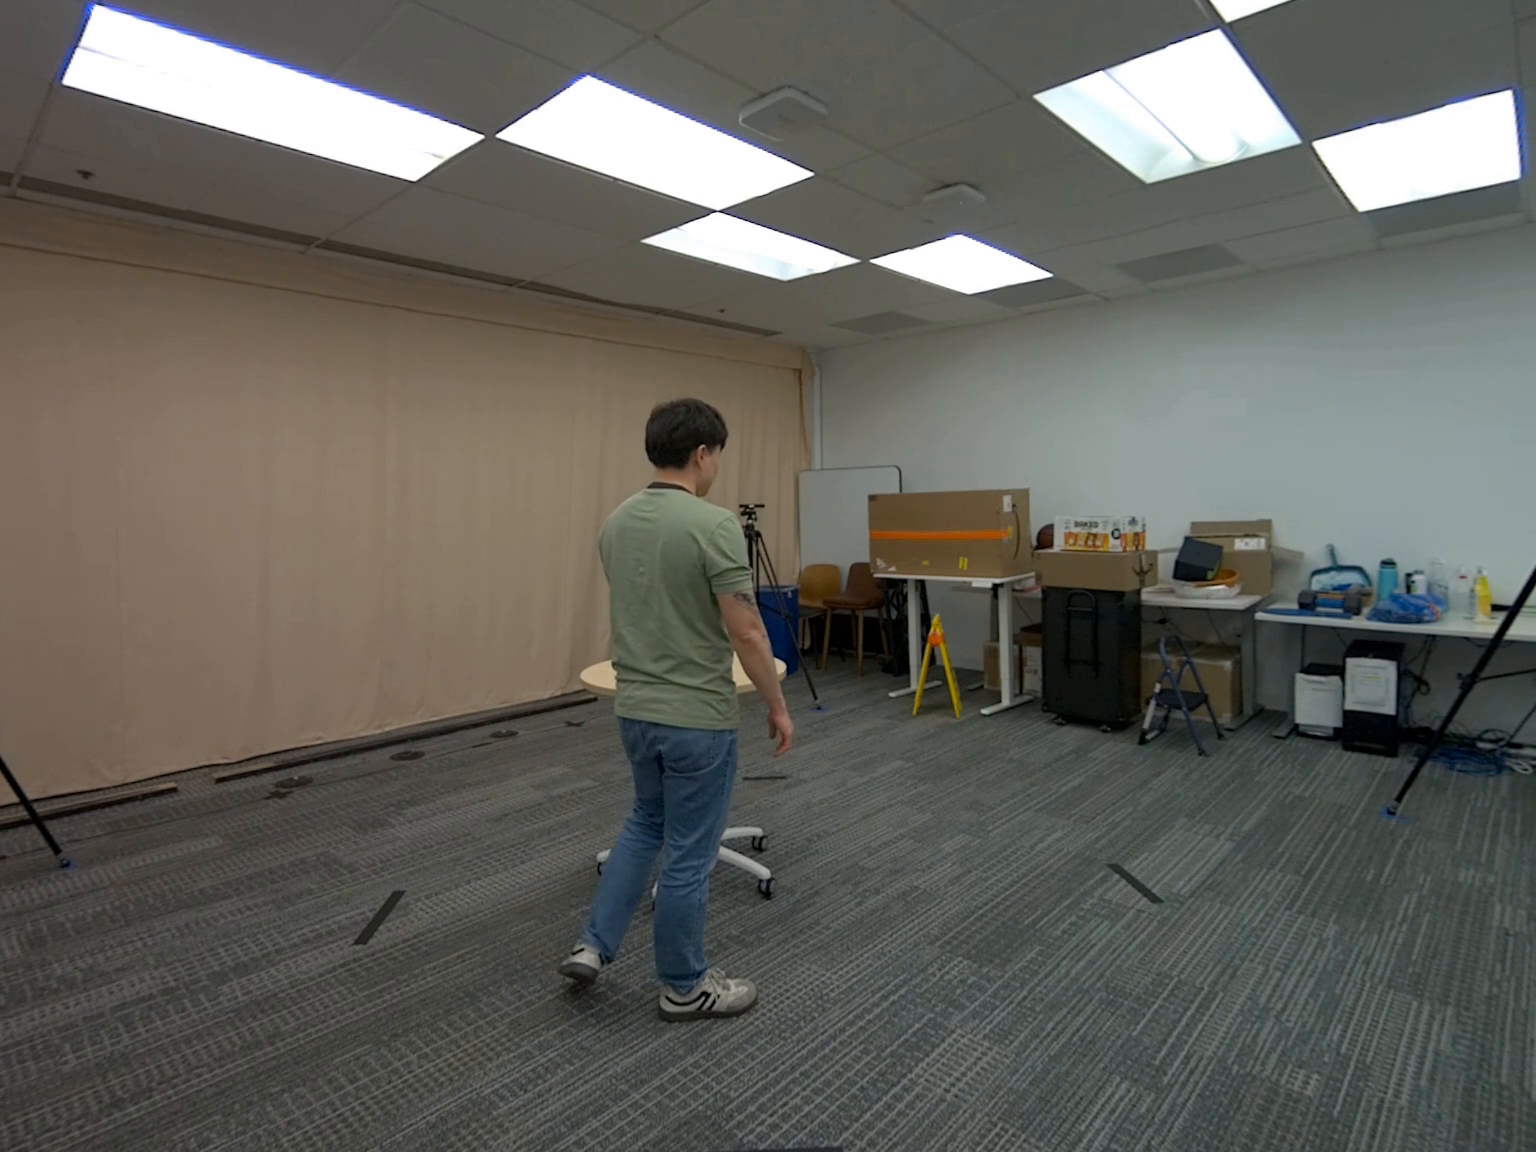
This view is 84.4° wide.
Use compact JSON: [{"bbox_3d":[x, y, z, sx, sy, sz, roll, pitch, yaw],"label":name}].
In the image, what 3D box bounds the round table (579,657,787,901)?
[{"bbox_3d":[-0.298,0.741,3.162,0.763,0.792,0.767,-2,4,-2],"label":"round table"}]
